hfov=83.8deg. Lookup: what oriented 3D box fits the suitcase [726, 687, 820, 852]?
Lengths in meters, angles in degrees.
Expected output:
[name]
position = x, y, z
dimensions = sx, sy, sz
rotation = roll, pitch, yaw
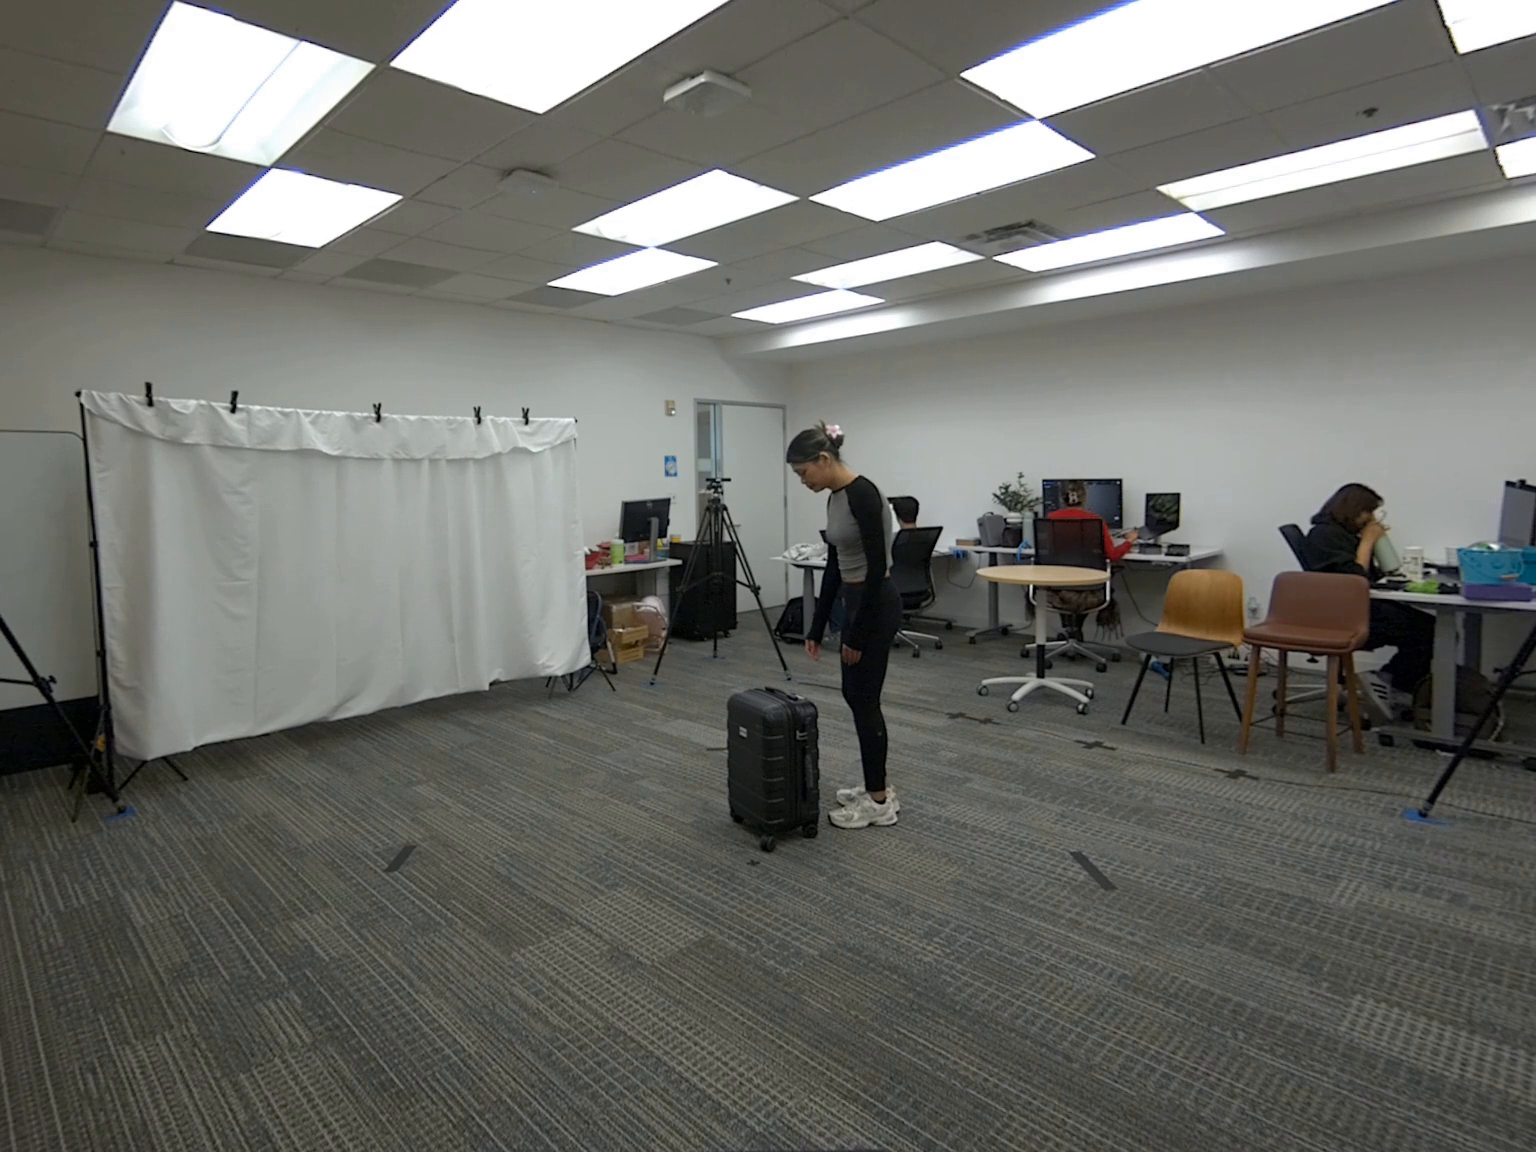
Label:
[suitcase]
position = 0.021, 0.730, 3.383
dimensions = 0.242, 0.547, 0.386
rotation = -3, 6, -30
